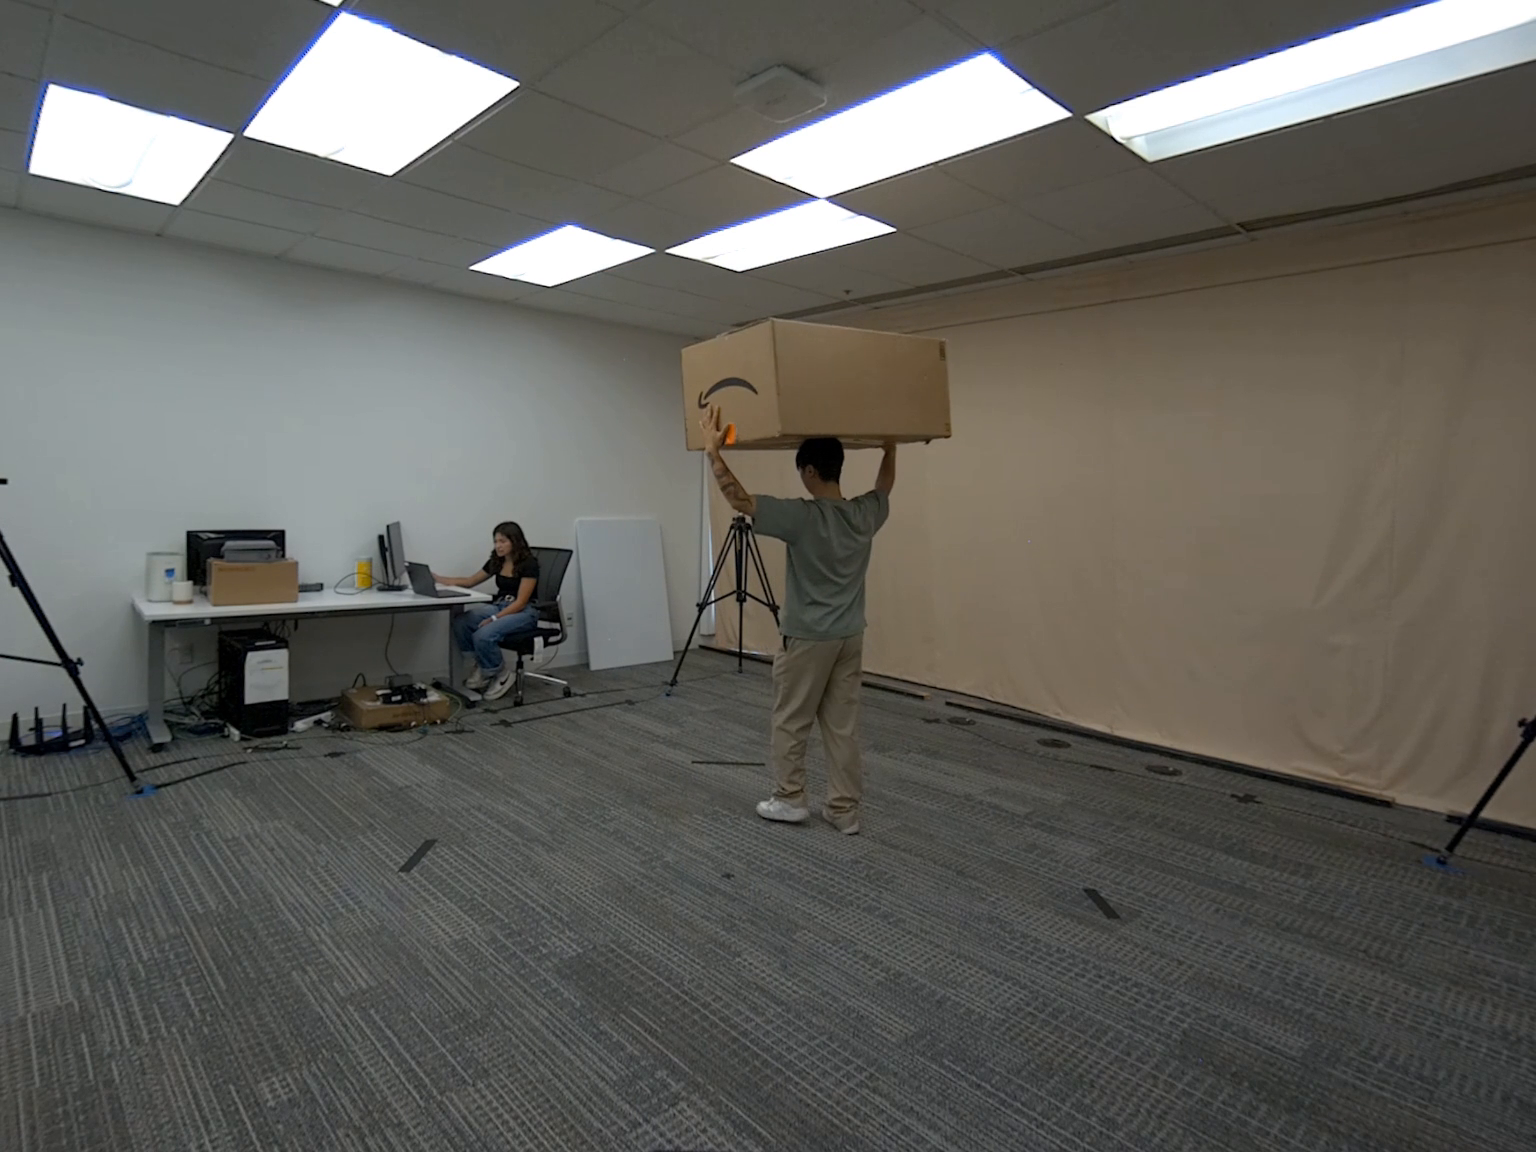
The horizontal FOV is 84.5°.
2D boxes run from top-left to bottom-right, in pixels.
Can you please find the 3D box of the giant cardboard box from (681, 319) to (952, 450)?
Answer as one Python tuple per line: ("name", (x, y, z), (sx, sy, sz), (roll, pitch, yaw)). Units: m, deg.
("giant cardboard box", (0.207, -0.765, 3.555), (1.005, 0.425, 0.591), (-7, 5, -39))
